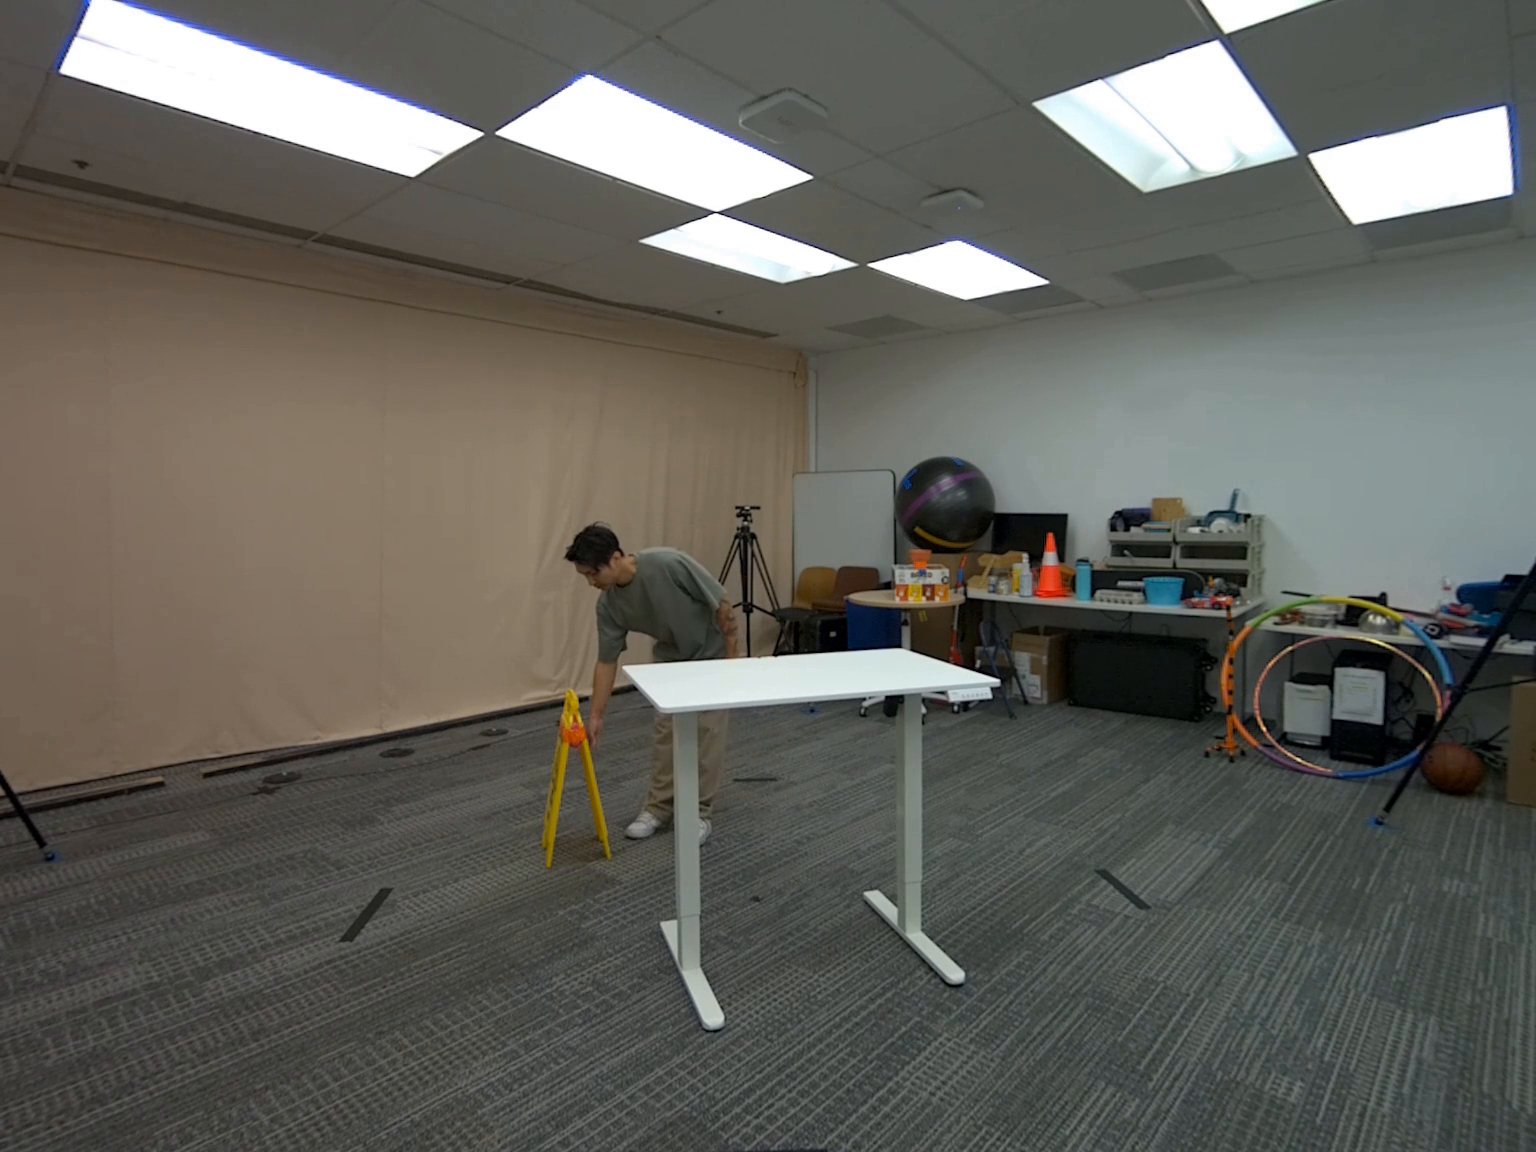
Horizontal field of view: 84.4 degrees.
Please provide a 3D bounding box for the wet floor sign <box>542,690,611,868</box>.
[{"bbox_3d":[-0.789,0.793,3.395,0.285,0.645,0.288,-2,2,-18],"label":"wet floor sign"}]
